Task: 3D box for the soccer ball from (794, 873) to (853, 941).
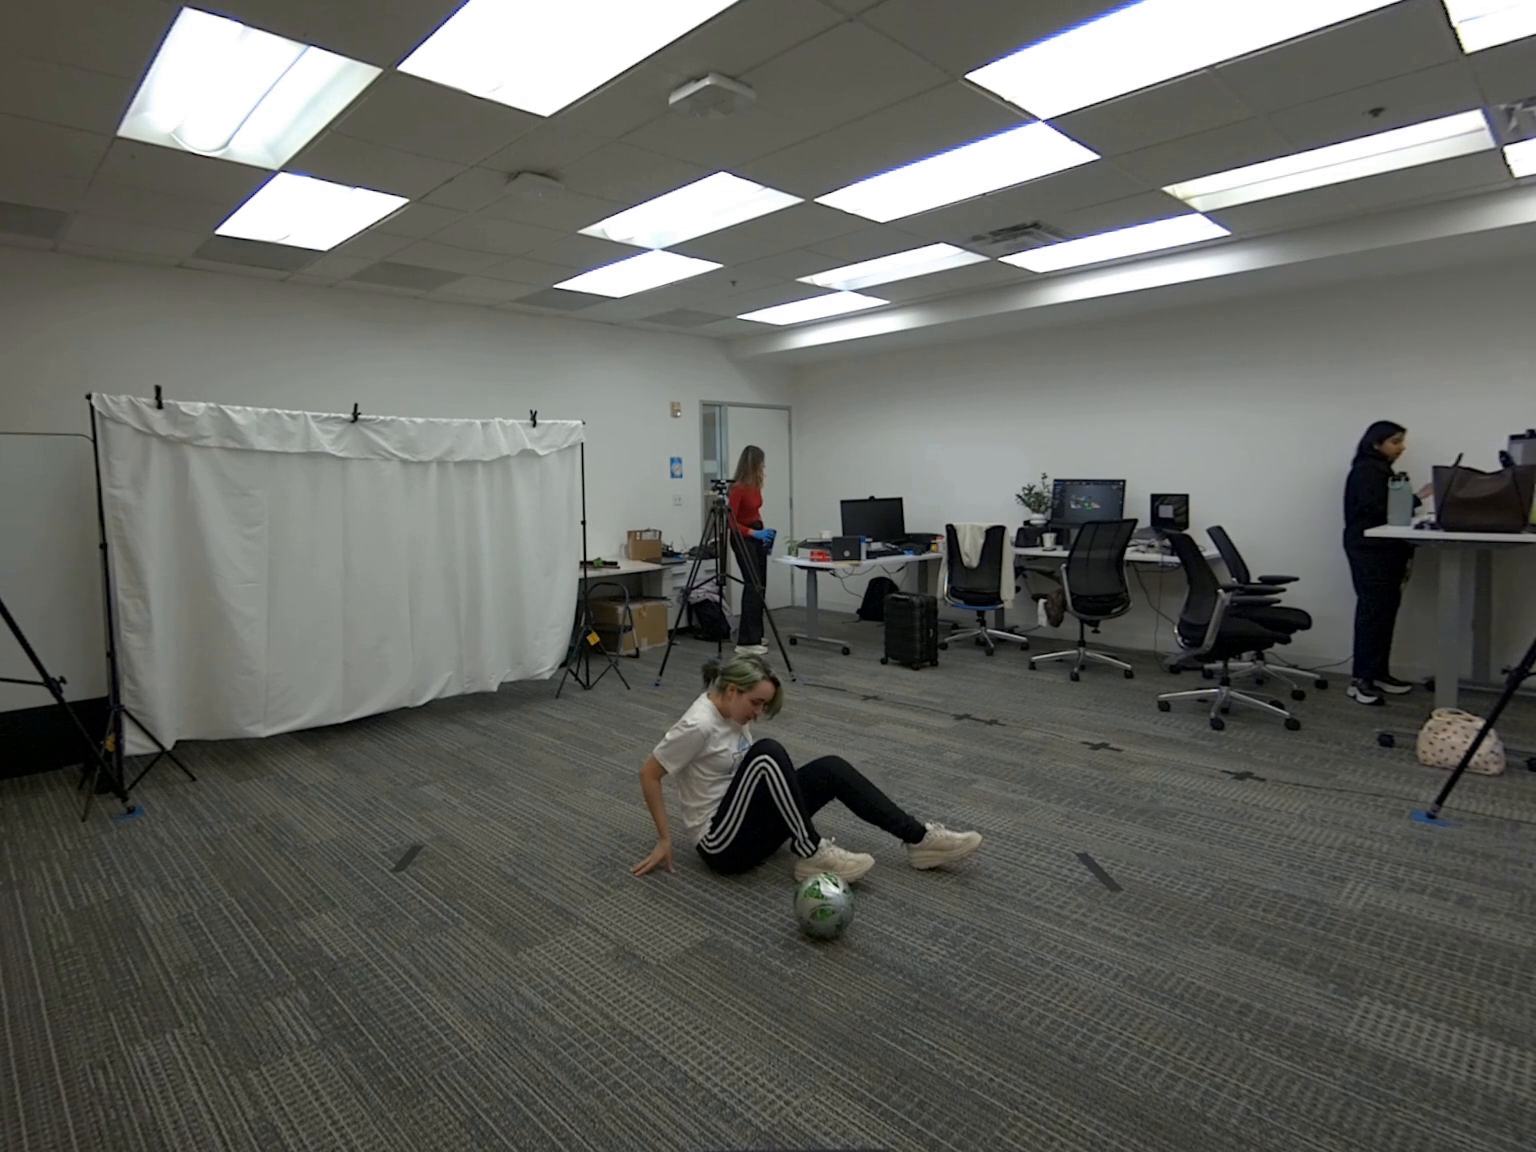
[{"bbox_3d":[0.171,1.009,2.614,0.187,0.187,0.188,-1,5,-2],"label":"soccer ball"}]
